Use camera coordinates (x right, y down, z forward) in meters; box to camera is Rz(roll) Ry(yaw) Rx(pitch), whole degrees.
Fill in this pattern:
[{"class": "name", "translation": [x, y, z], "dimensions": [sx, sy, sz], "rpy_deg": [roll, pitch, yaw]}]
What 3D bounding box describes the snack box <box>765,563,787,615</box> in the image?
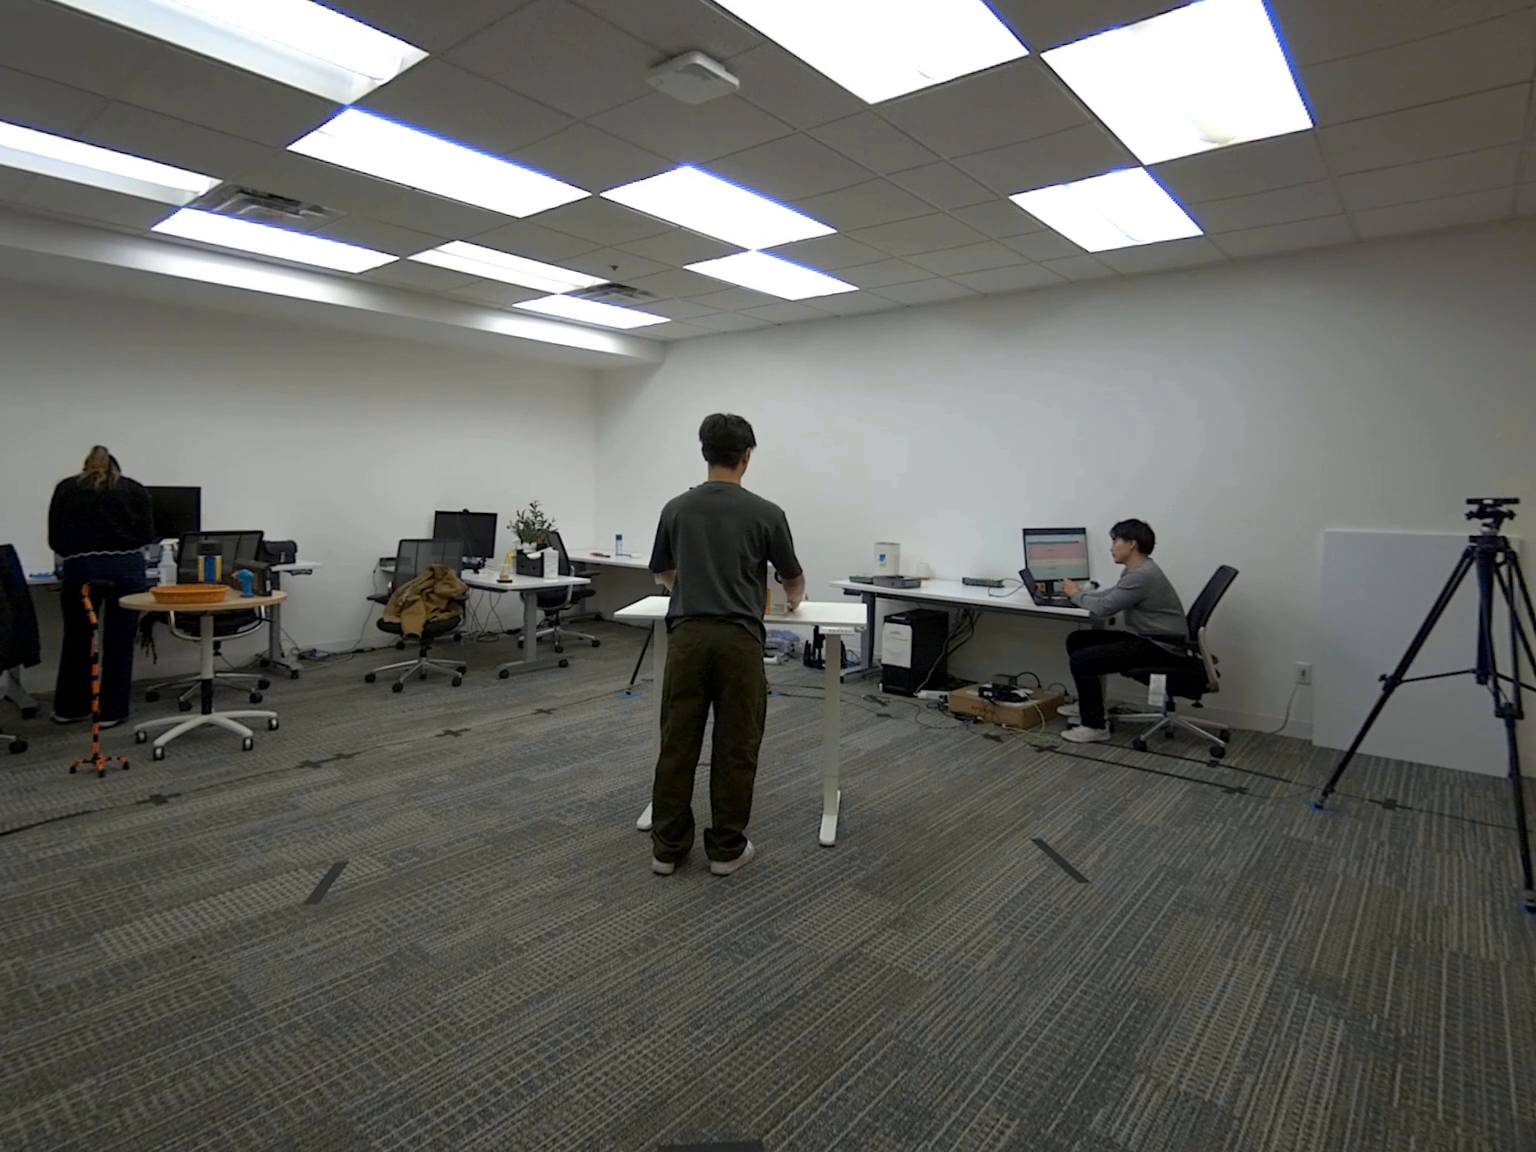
[{"class": "snack box", "translation": [-0.107, 0.034, 3.625], "dimensions": [0.410, 0.205, 0.337], "rpy_deg": [2, 5, 11]}]
